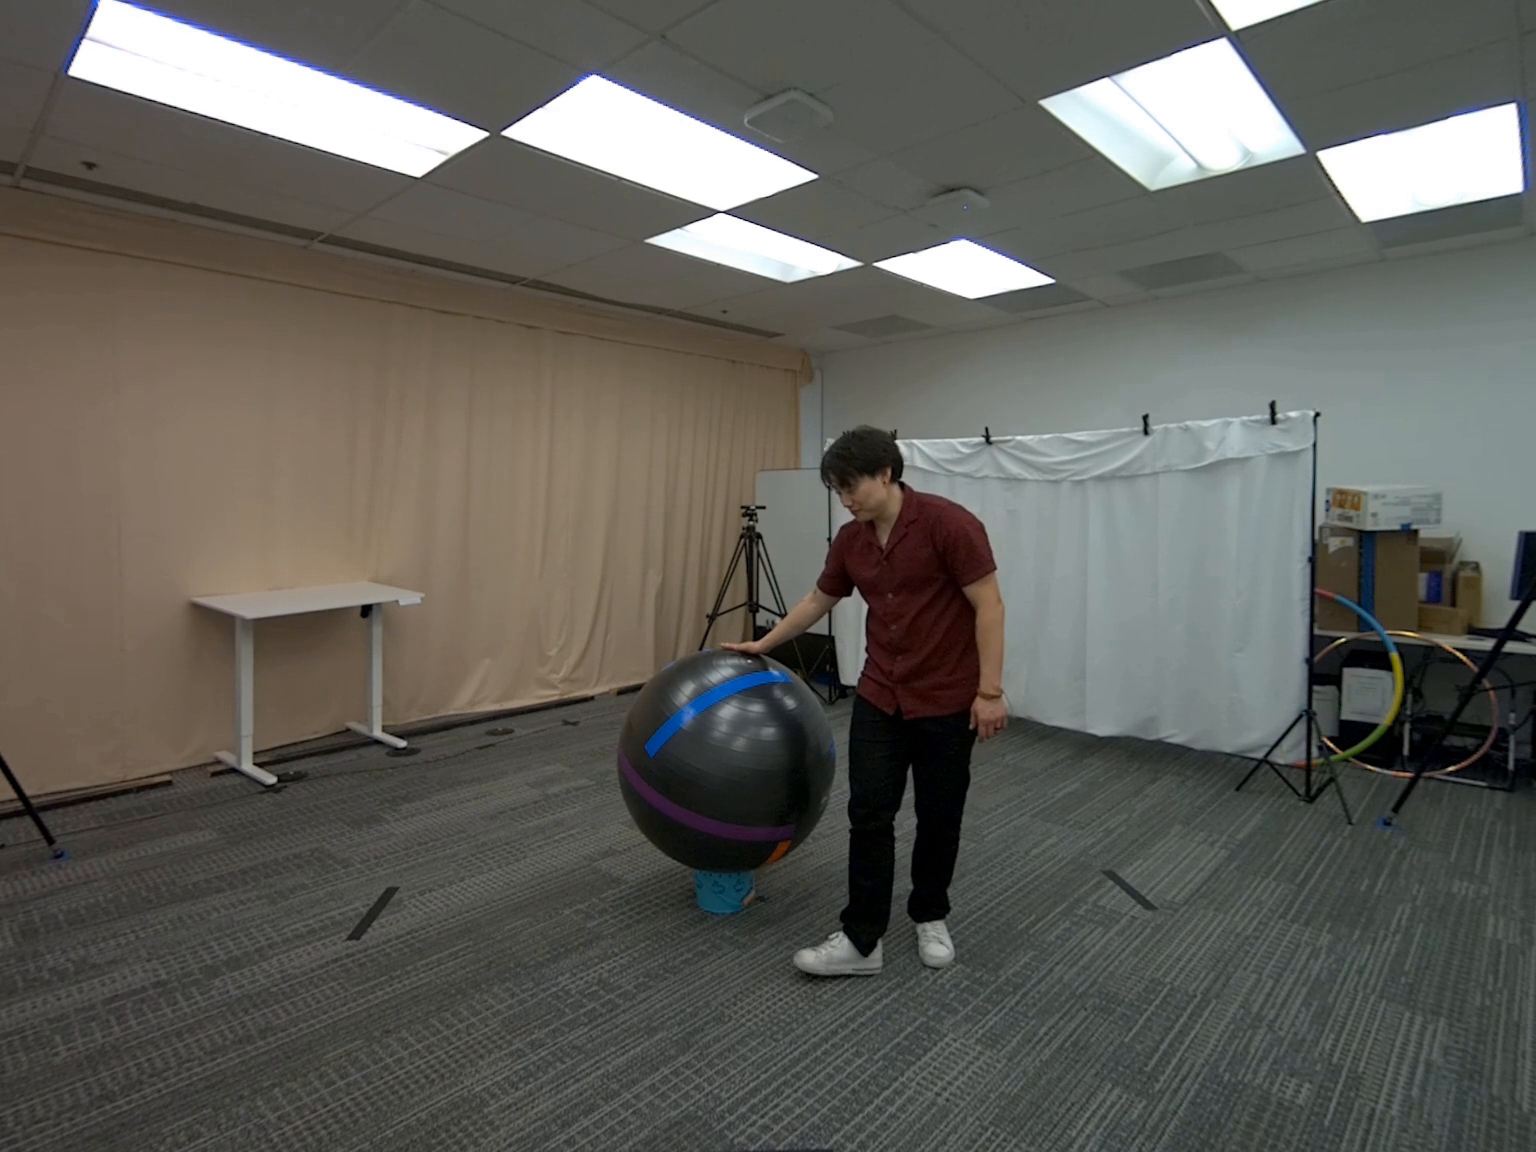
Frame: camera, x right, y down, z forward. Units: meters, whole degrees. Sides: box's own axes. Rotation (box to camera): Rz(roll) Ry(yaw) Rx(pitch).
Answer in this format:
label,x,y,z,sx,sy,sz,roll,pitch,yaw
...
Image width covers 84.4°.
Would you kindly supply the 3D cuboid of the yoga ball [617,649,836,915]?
label,x,y,z,sx,sy,sz,roll,pitch,yaw
yoga ball,-0.141,0.637,2.940,0.757,0.756,0.760,0,4,-2
